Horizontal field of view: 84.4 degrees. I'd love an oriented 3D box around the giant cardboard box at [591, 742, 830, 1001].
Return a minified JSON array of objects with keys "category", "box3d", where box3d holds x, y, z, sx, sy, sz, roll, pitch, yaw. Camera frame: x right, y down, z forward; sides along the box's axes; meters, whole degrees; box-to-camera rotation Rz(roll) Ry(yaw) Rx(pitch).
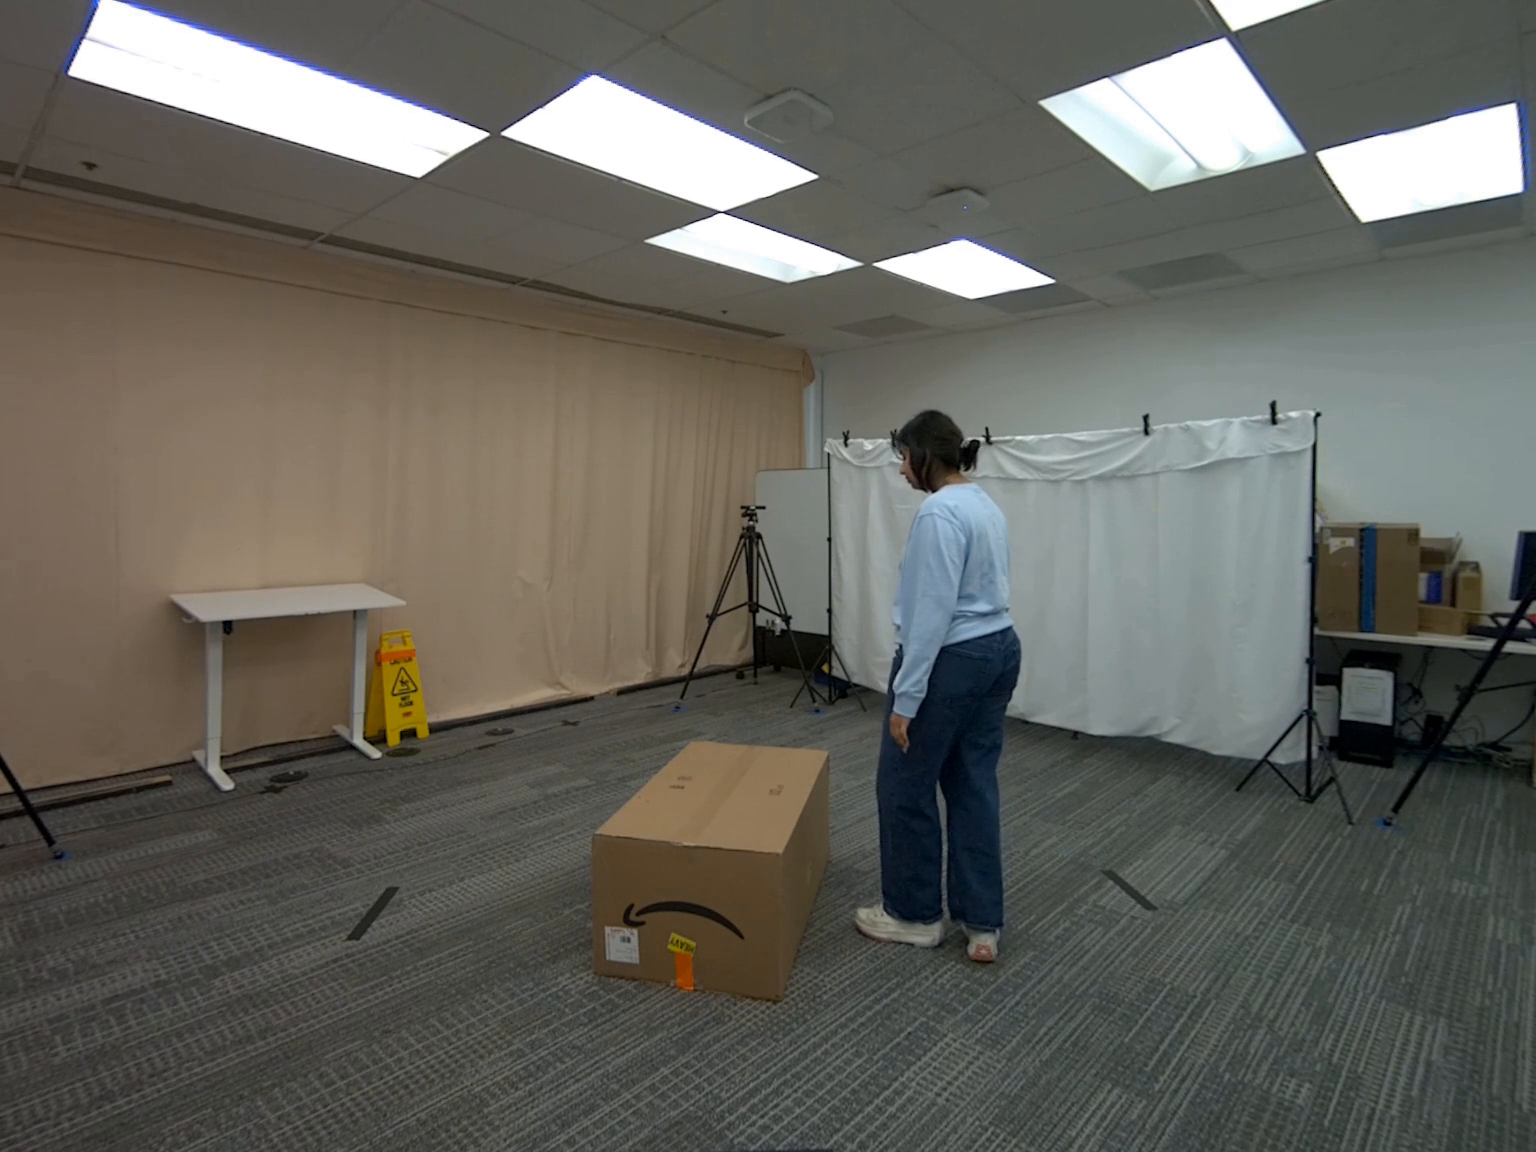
[{"category":"giant cardboard box","box3d":[-0.135,0.934,2.909,0.586,0.425,1.013,1,5,13]}]
